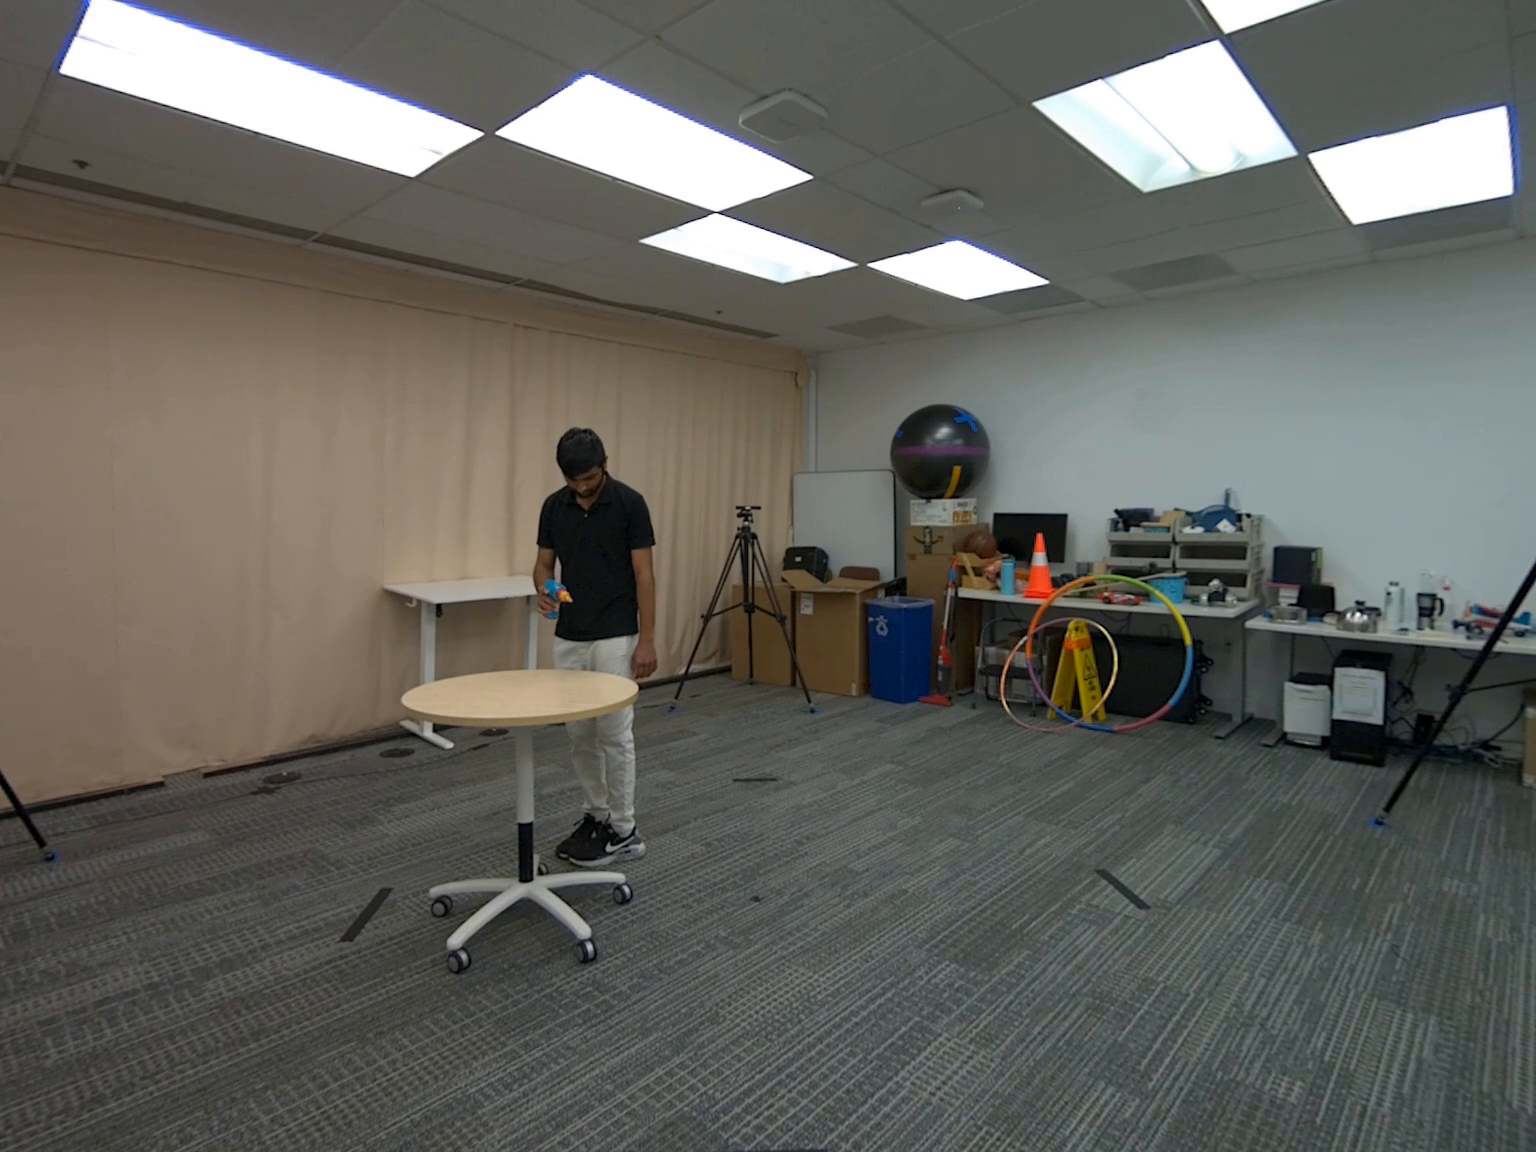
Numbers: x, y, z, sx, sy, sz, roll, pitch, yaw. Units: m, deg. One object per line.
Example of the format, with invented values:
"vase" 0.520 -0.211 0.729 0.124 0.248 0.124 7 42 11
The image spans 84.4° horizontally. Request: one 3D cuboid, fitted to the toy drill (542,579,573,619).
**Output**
"toy drill" -0.787 0.095 3.120 0.060 0.143 0.176 -28 44 -25
